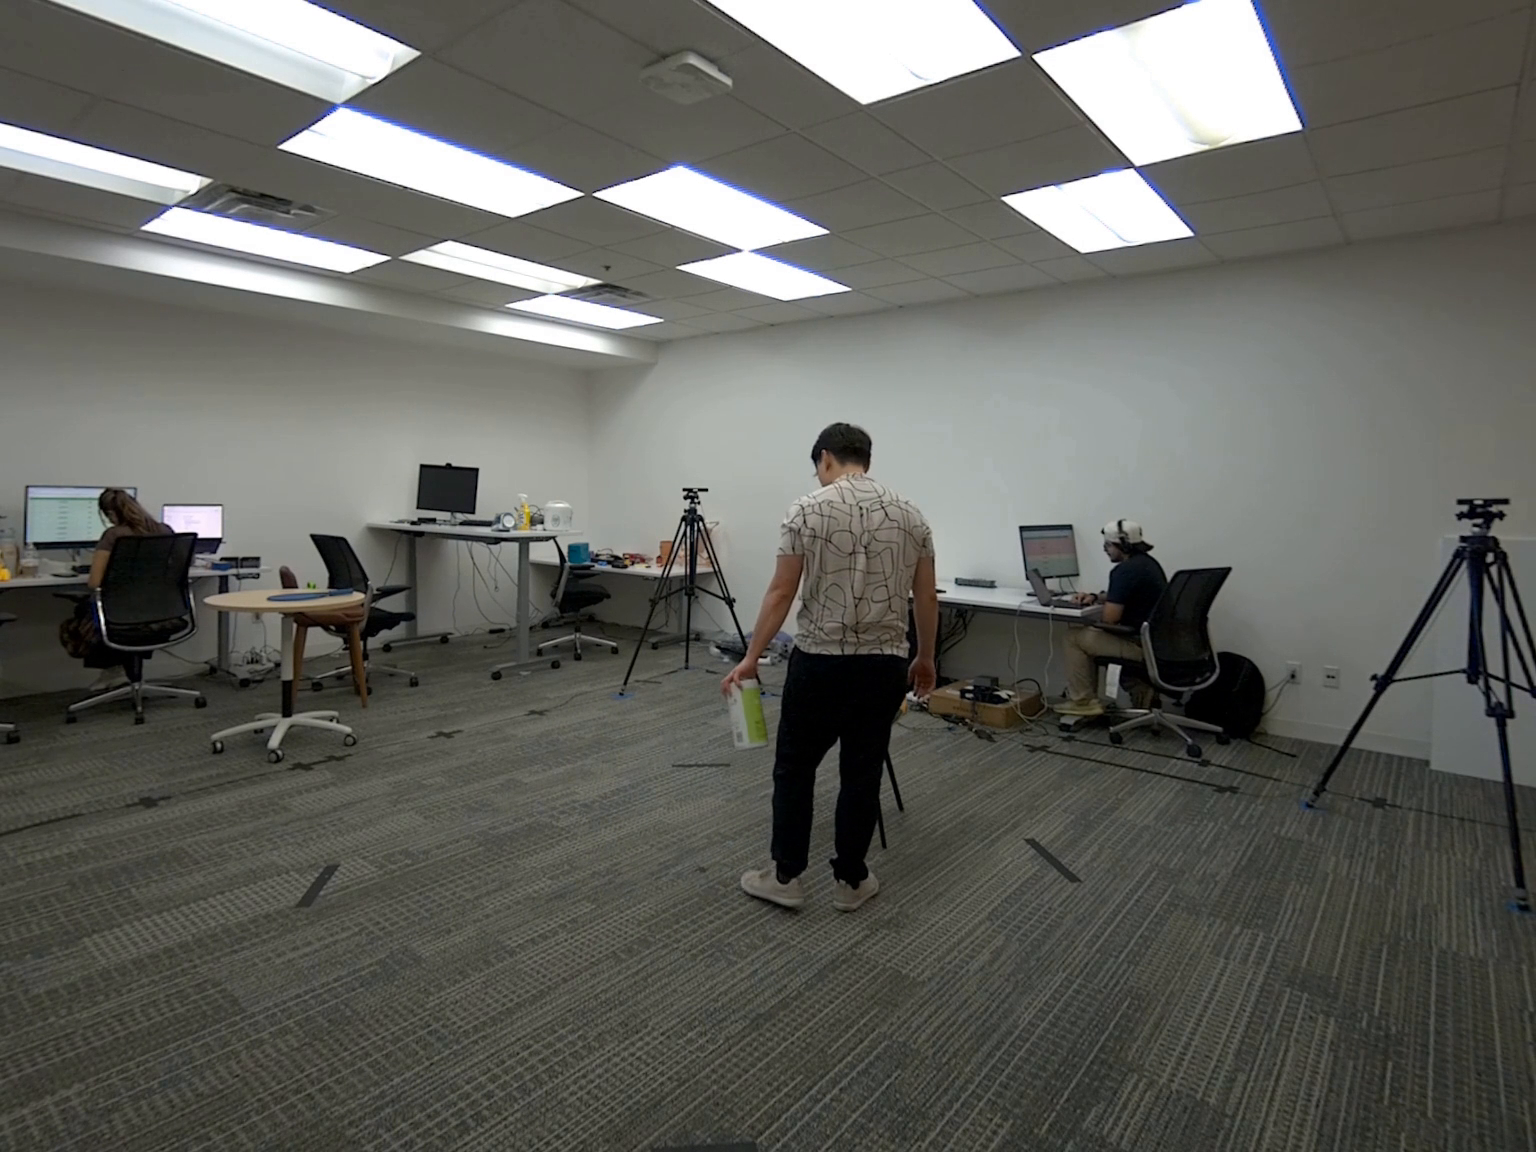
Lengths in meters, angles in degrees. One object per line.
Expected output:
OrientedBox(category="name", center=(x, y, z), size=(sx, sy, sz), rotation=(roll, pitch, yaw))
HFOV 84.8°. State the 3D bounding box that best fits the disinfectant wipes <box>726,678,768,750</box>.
OrientedBox(category="disinfectant wipes", center=(-0.077, 0.448, 2.755), size=(0.117, 0.220, 0.116), rotation=(-7, -12, -3))
